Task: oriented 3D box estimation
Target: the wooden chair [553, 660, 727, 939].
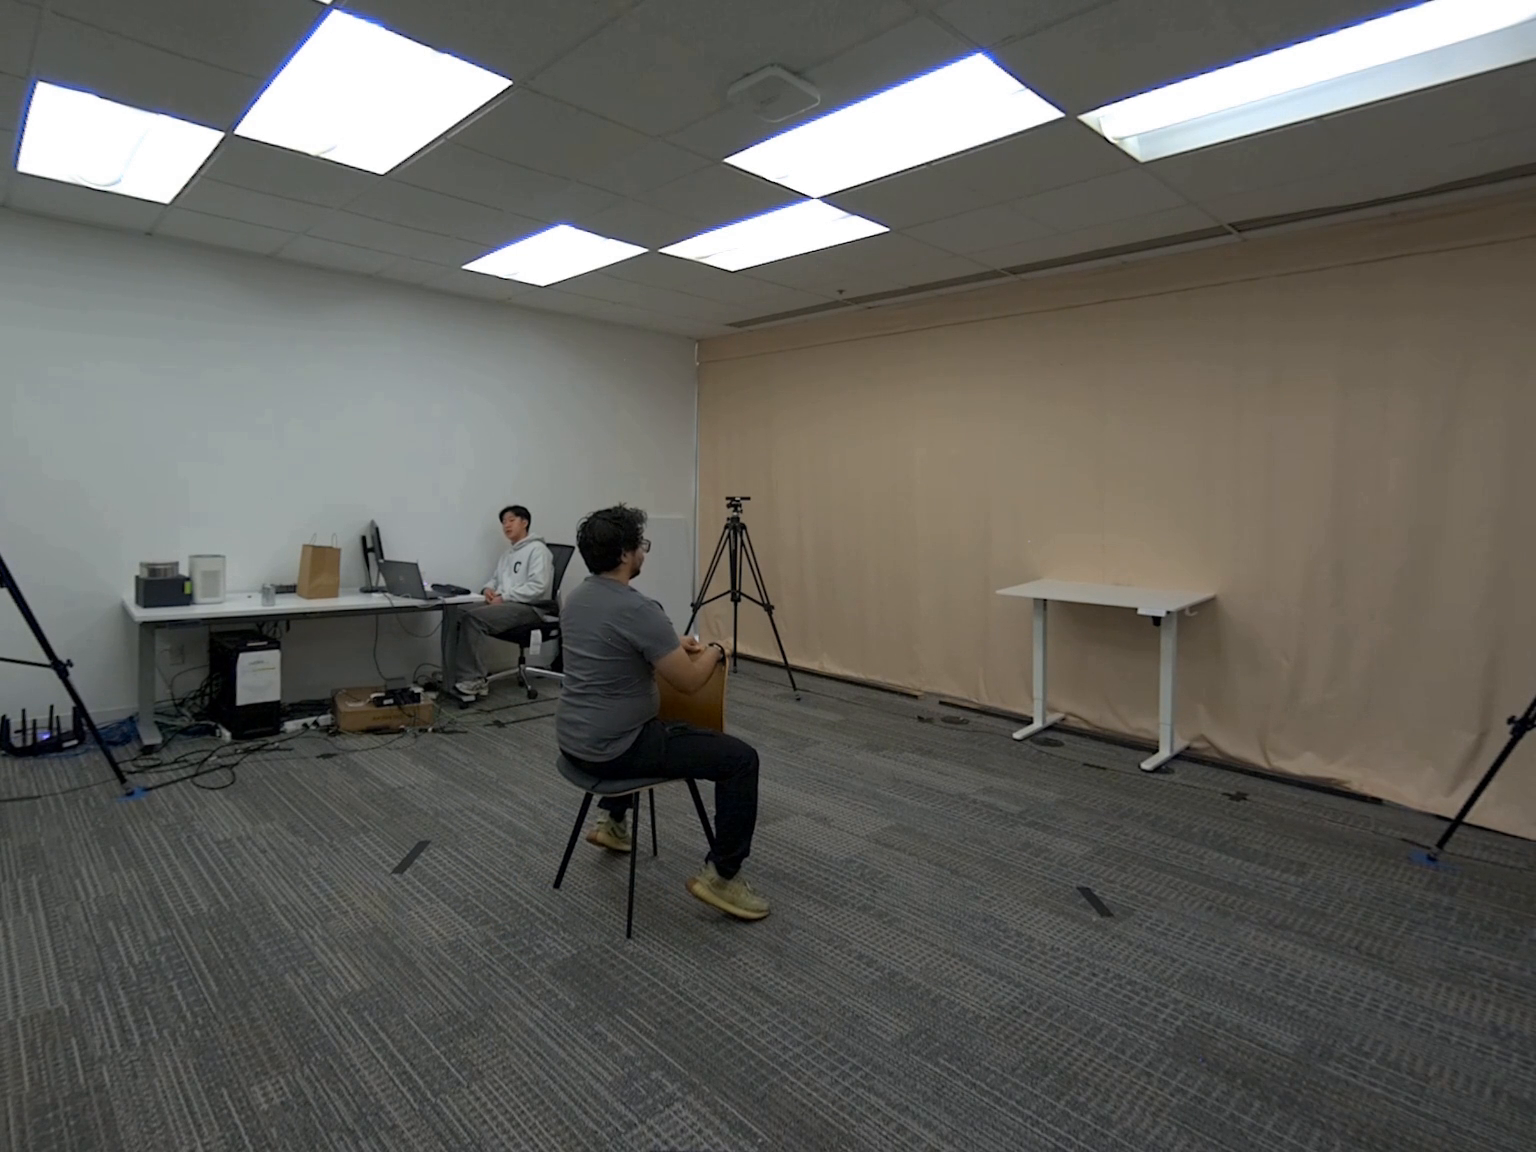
[{"bbox_3d":[-0.439,0.691,2.924,0.510,0.877,0.490,3,1,-44],"label":"wooden chair"}]
